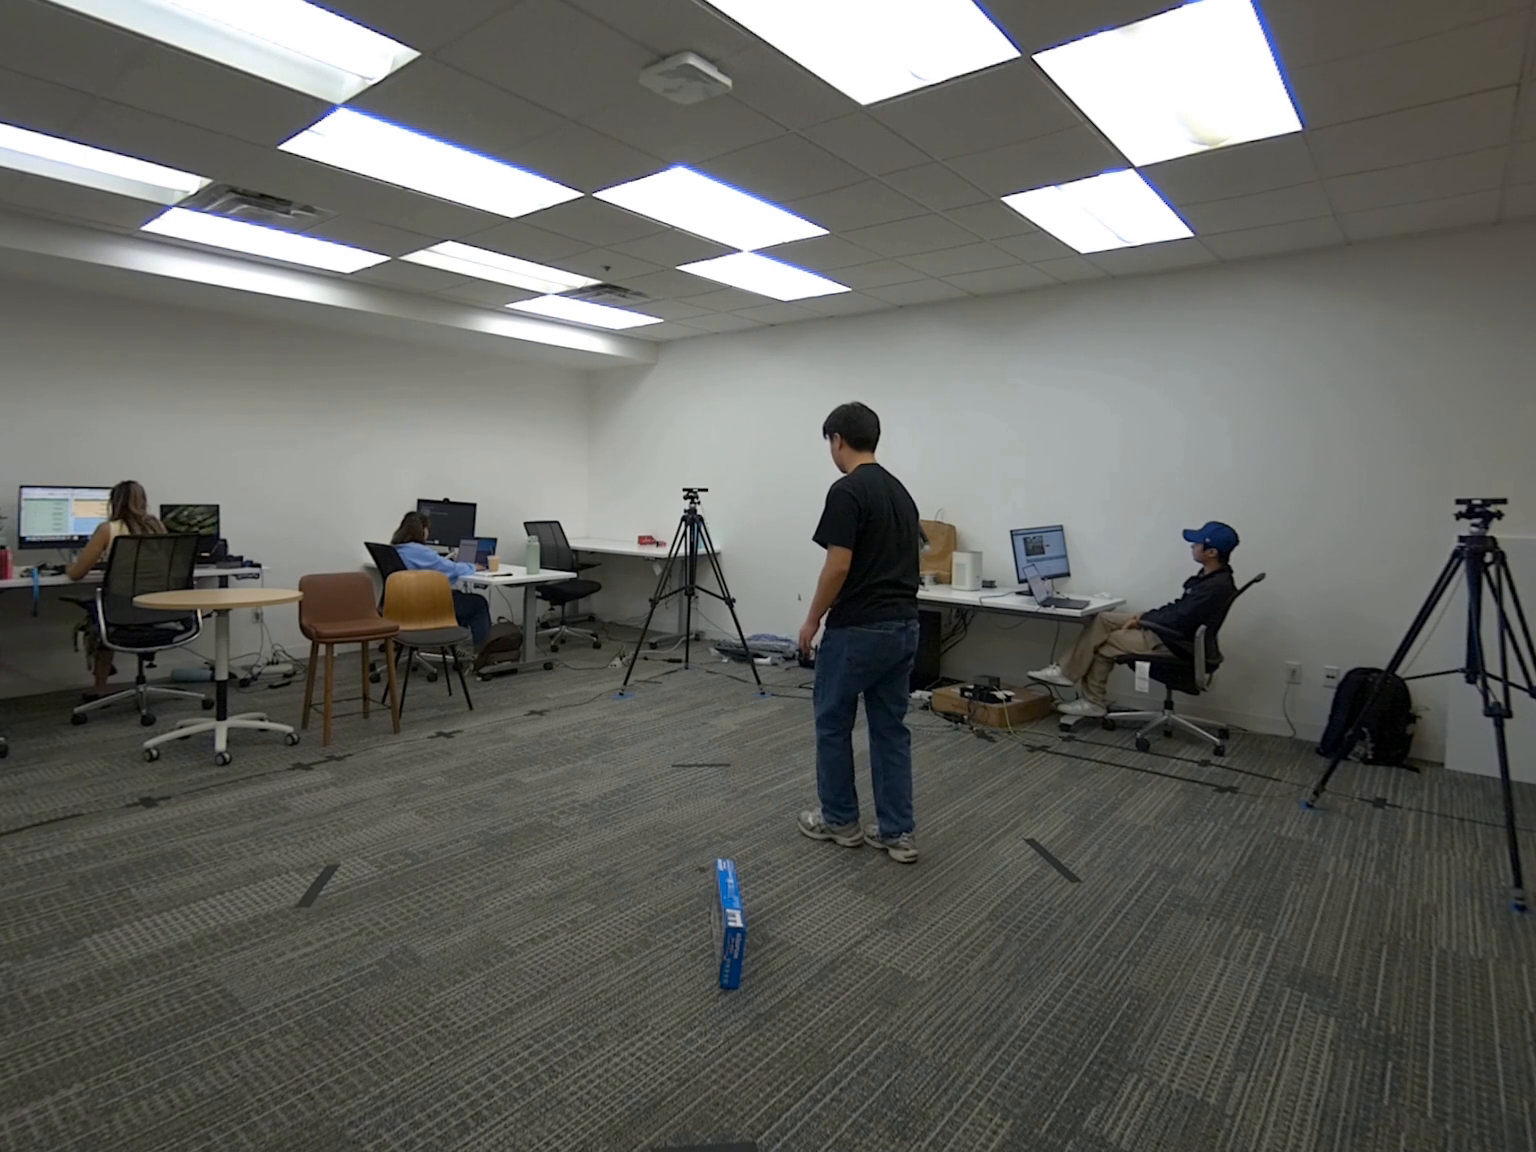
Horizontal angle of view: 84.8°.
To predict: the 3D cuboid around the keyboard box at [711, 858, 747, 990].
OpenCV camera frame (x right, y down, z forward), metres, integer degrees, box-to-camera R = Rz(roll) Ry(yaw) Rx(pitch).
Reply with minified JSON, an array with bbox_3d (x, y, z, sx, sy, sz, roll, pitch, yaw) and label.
[{"bbox_3d":[-0.134,1.035,2.573,0.059,0.175,0.441,5,5,-8],"label":"keyboard box"}]
